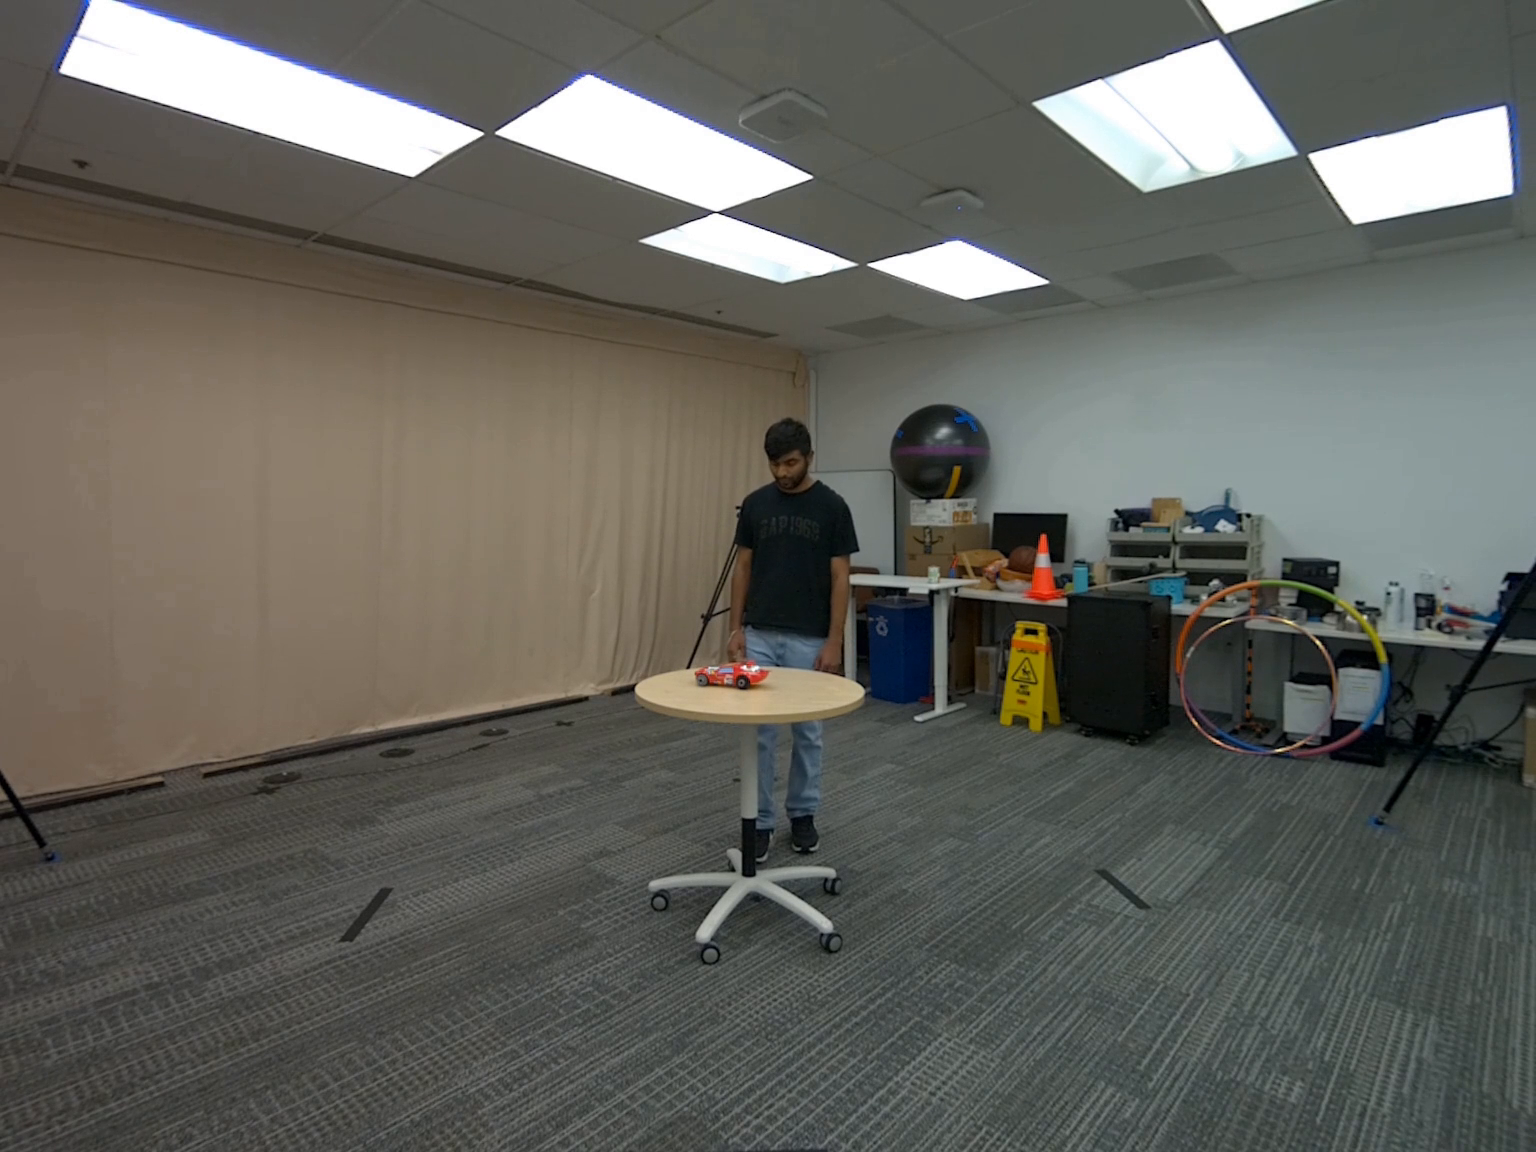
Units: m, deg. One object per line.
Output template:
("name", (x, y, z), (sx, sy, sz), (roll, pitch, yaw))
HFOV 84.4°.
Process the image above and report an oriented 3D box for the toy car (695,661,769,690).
("toy car", (-0.117, 0.341, 2.852), (0.259, 0.083, 0.128), (-9, 0, 20))
